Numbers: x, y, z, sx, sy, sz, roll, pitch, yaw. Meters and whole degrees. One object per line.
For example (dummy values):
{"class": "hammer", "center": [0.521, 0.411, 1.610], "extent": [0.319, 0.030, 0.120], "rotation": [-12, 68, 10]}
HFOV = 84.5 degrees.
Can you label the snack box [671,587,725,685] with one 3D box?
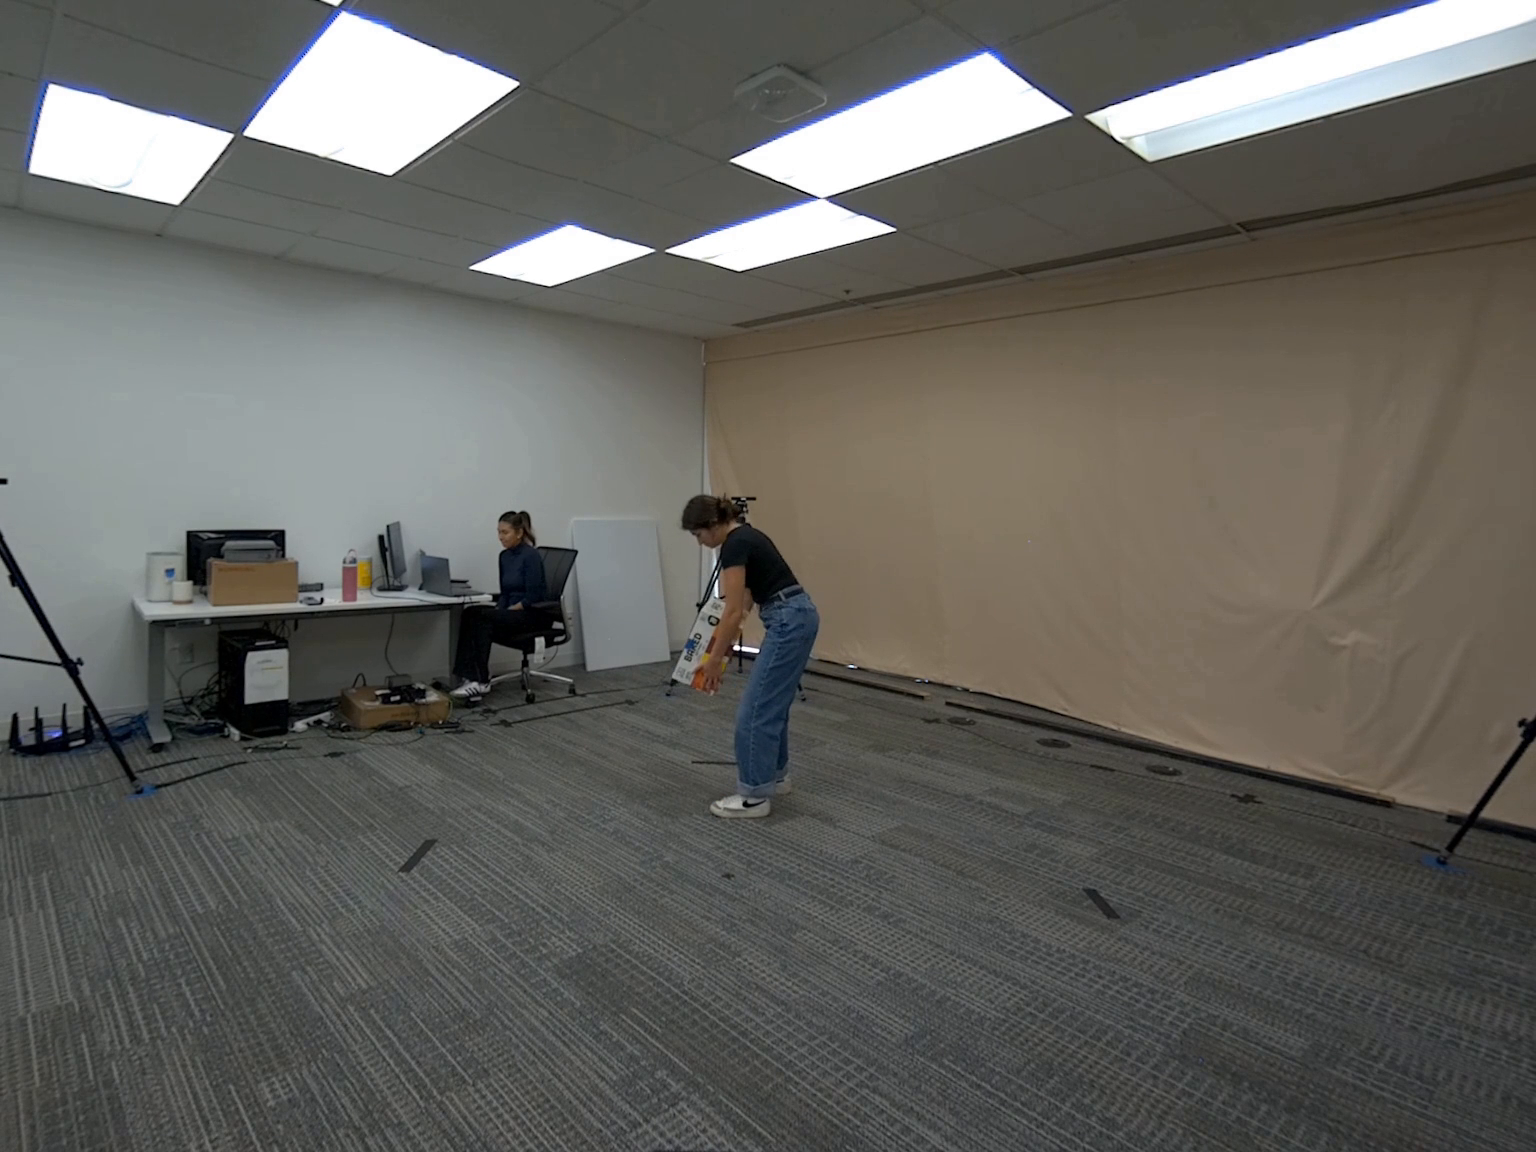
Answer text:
{"class": "snack box", "center": [-0.268, 0.314, 3.922], "extent": [0.206, 0.339, 0.406], "rotation": [24, 8, 0]}
